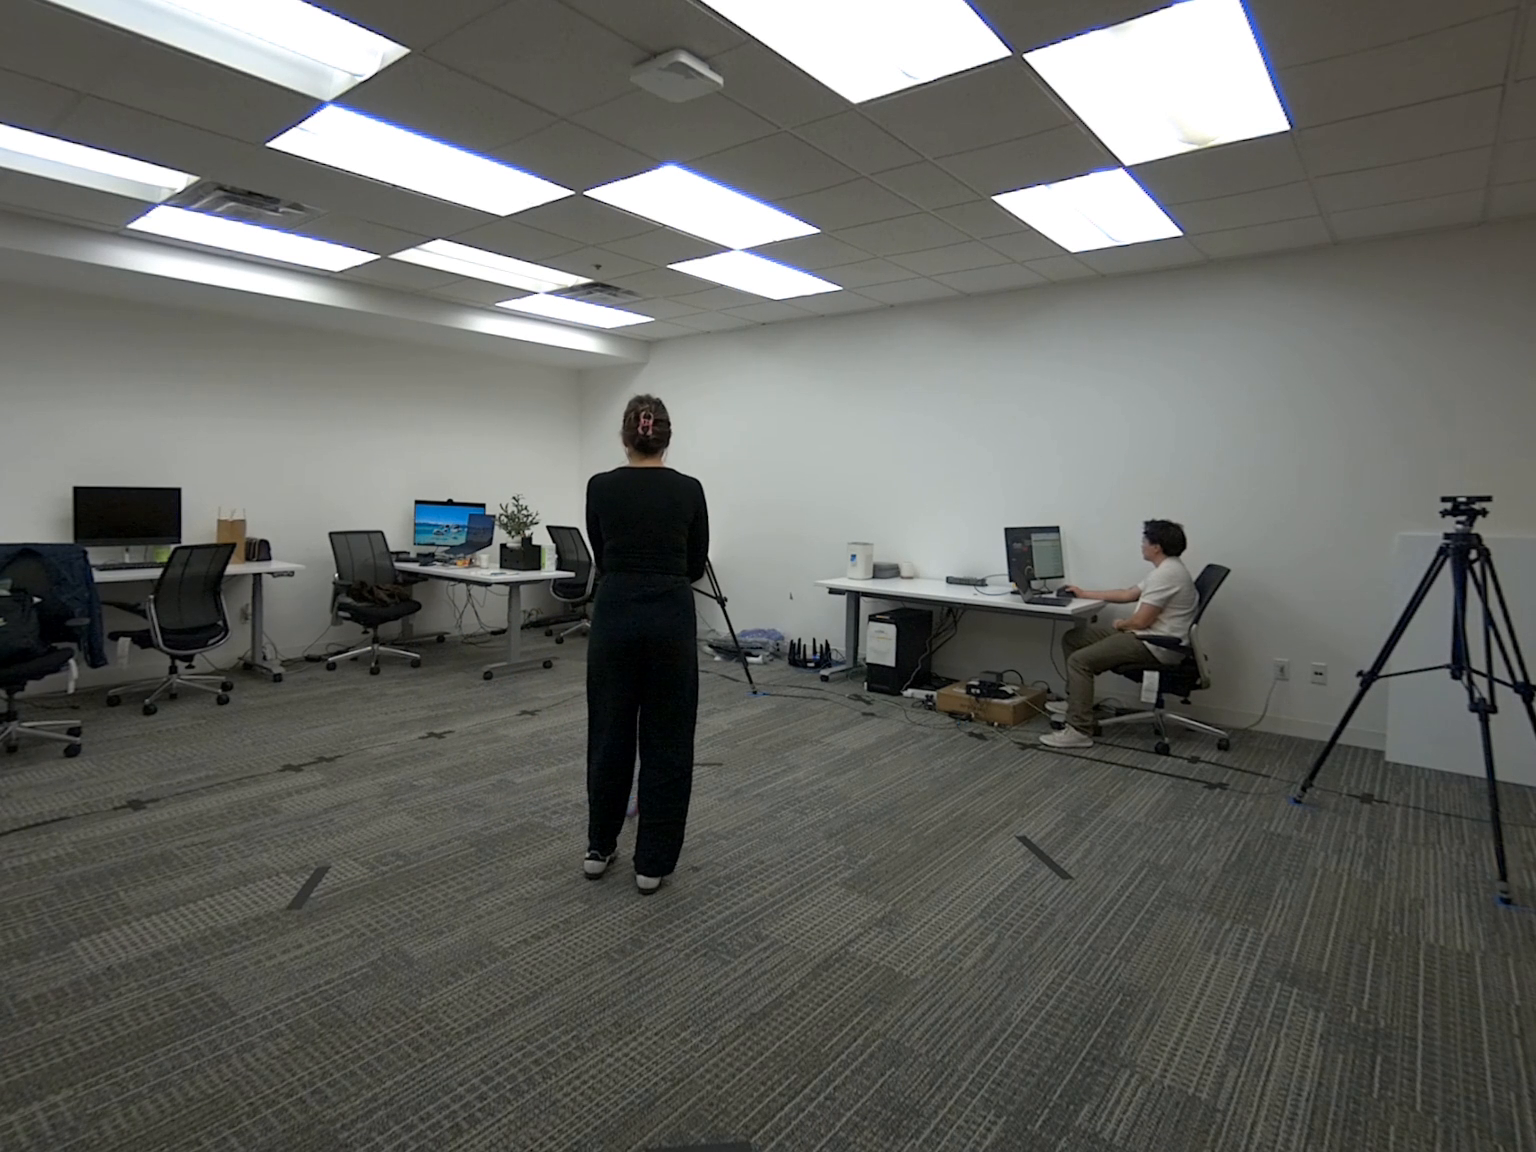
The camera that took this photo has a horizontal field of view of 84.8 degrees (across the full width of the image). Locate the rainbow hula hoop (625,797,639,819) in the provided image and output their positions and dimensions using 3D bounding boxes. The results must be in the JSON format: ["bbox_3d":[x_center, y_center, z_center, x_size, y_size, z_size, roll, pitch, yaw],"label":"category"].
[{"bbox_3d":[-0.653,0.522,3.642,0.035,0.974,1.001,-6,6,-20],"label":"rainbow hula hoop"}]
